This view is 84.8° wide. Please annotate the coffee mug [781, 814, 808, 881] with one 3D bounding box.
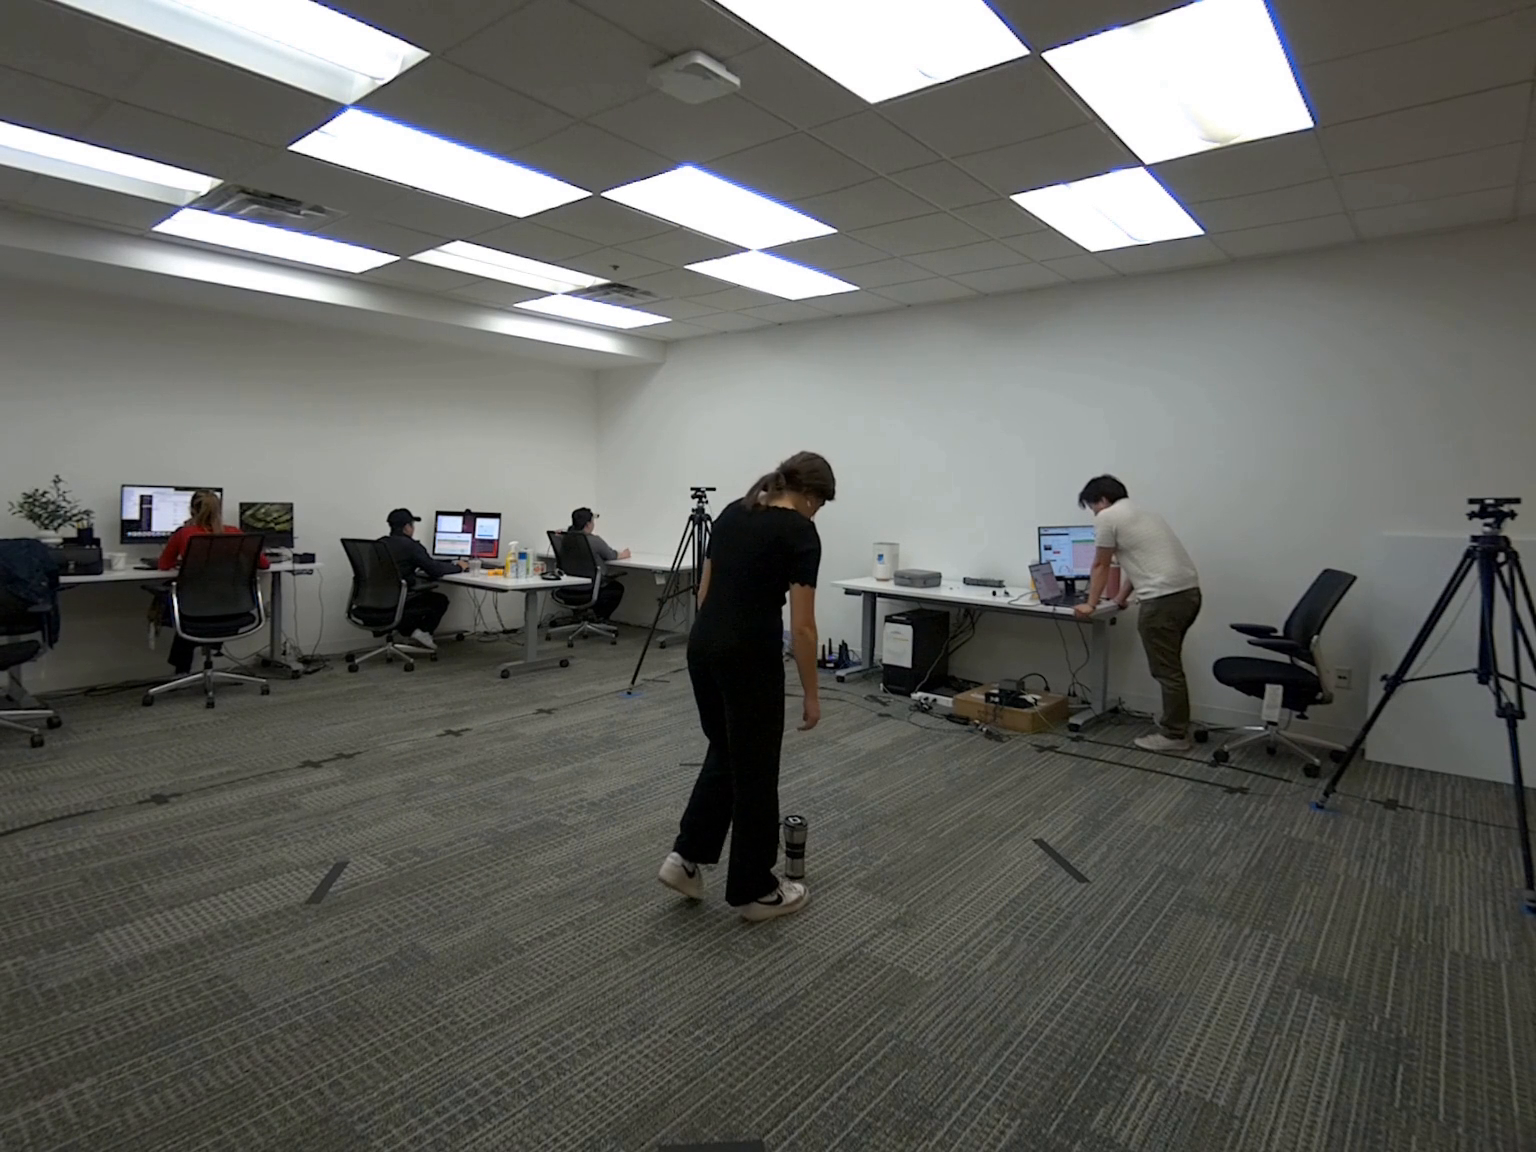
[{"bbox_3d":[0.079,0.975,3.082,0.085,0.201,0.126,-4,9,-35],"label":"coffee mug"}]
